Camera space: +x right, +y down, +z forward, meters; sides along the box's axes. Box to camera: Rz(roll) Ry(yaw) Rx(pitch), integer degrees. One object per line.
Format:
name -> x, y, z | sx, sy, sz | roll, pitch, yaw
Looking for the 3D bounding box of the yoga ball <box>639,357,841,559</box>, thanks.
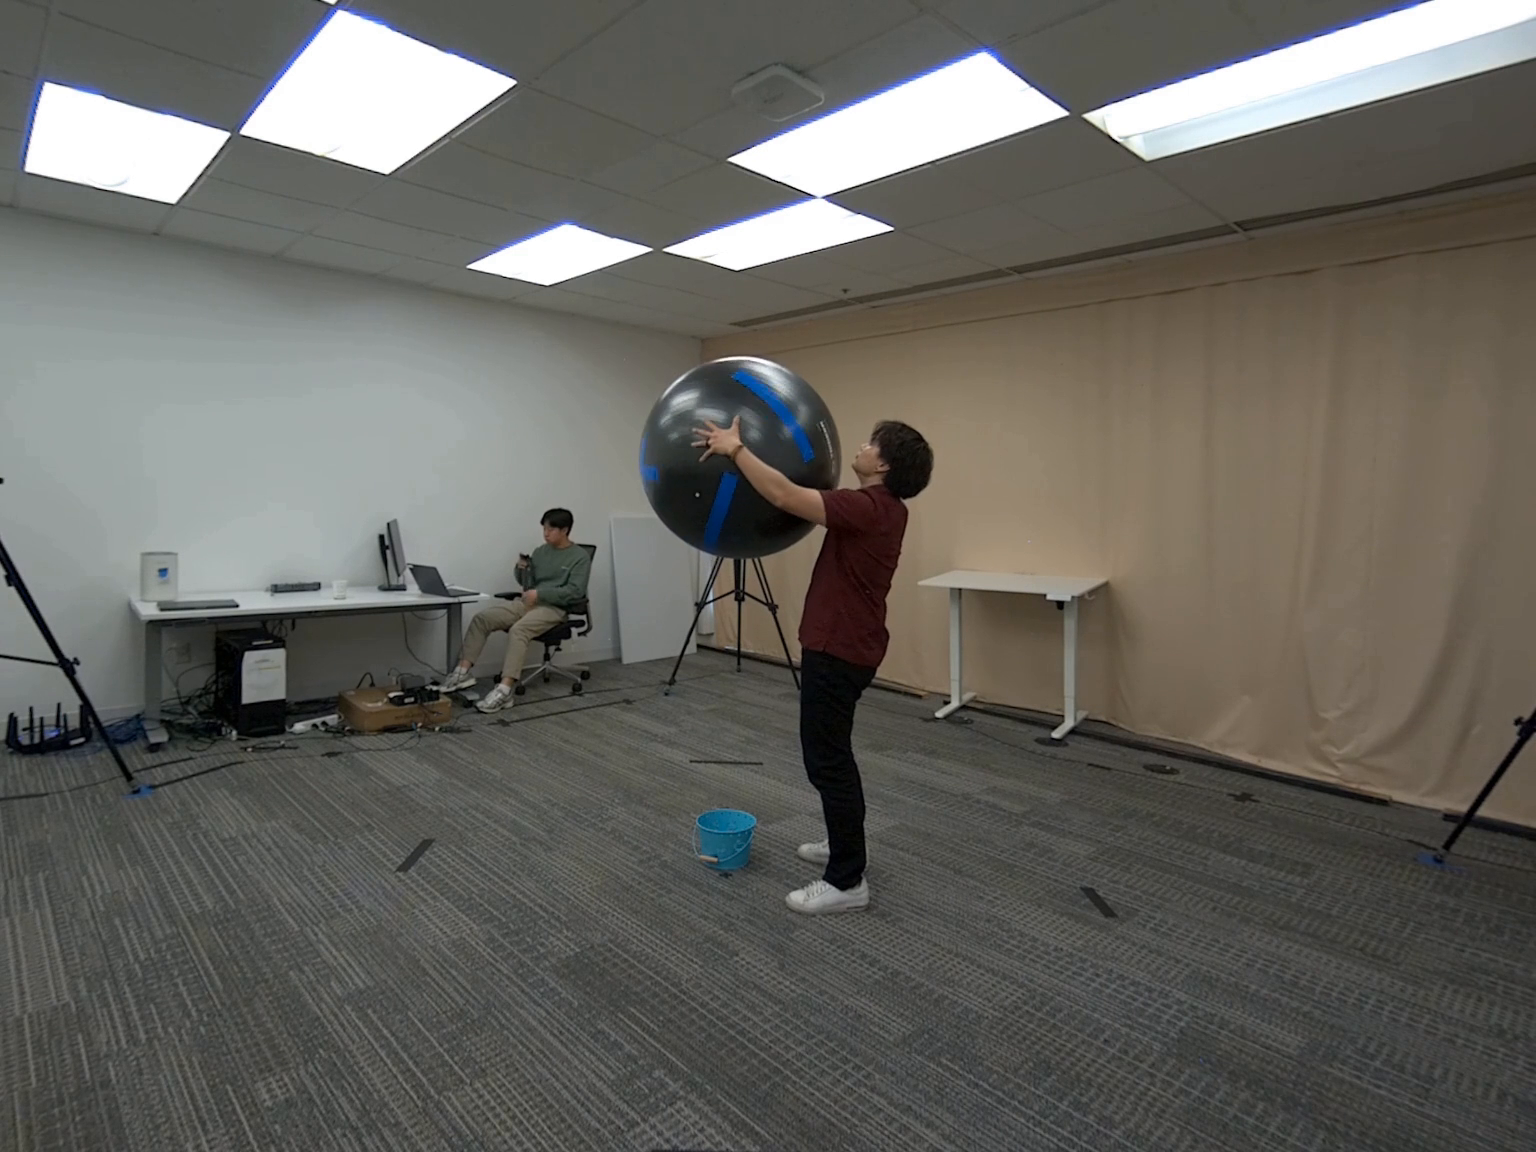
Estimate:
yoga ball -> -0.106, -0.431, 3.185 | 0.757, 0.756, 0.761 | 1, 4, -1
